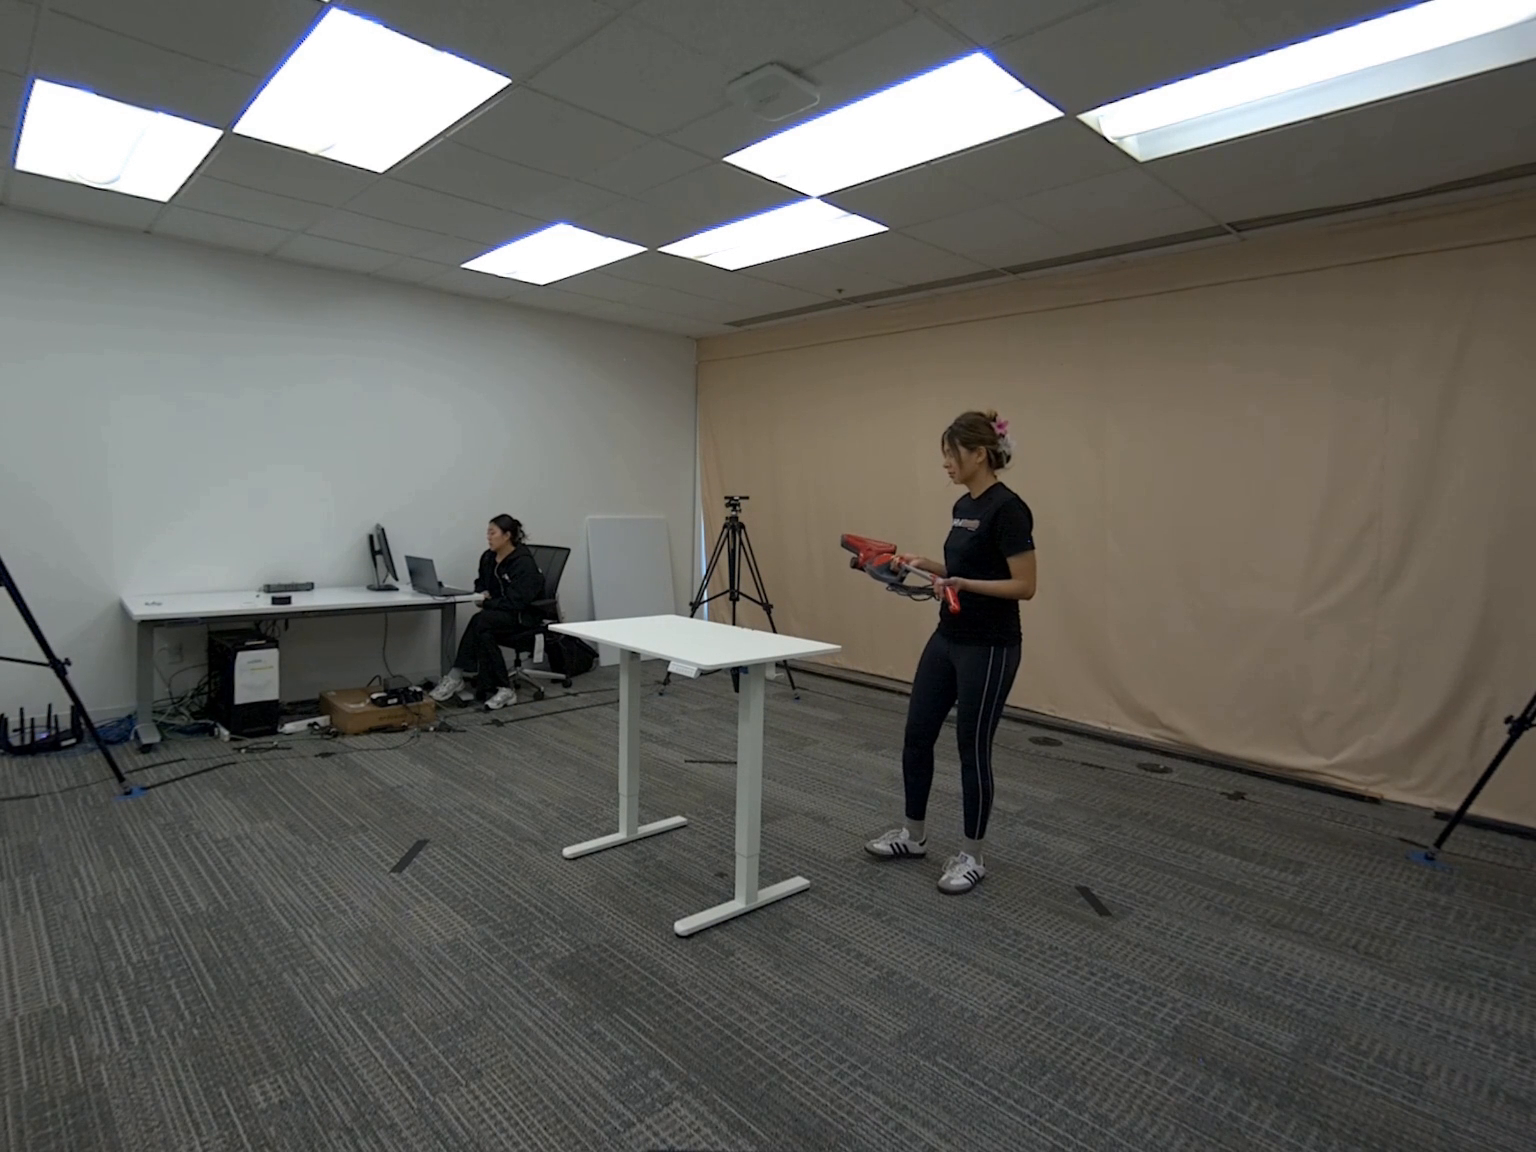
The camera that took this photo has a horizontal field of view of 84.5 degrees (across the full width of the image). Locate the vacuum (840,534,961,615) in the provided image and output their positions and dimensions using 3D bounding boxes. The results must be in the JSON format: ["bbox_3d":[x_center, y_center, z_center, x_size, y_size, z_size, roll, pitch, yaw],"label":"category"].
[{"bbox_3d":[0.498,0.009,3.190,0.250,0.143,1.062,12,9,-10],"label":"vacuum"}]
